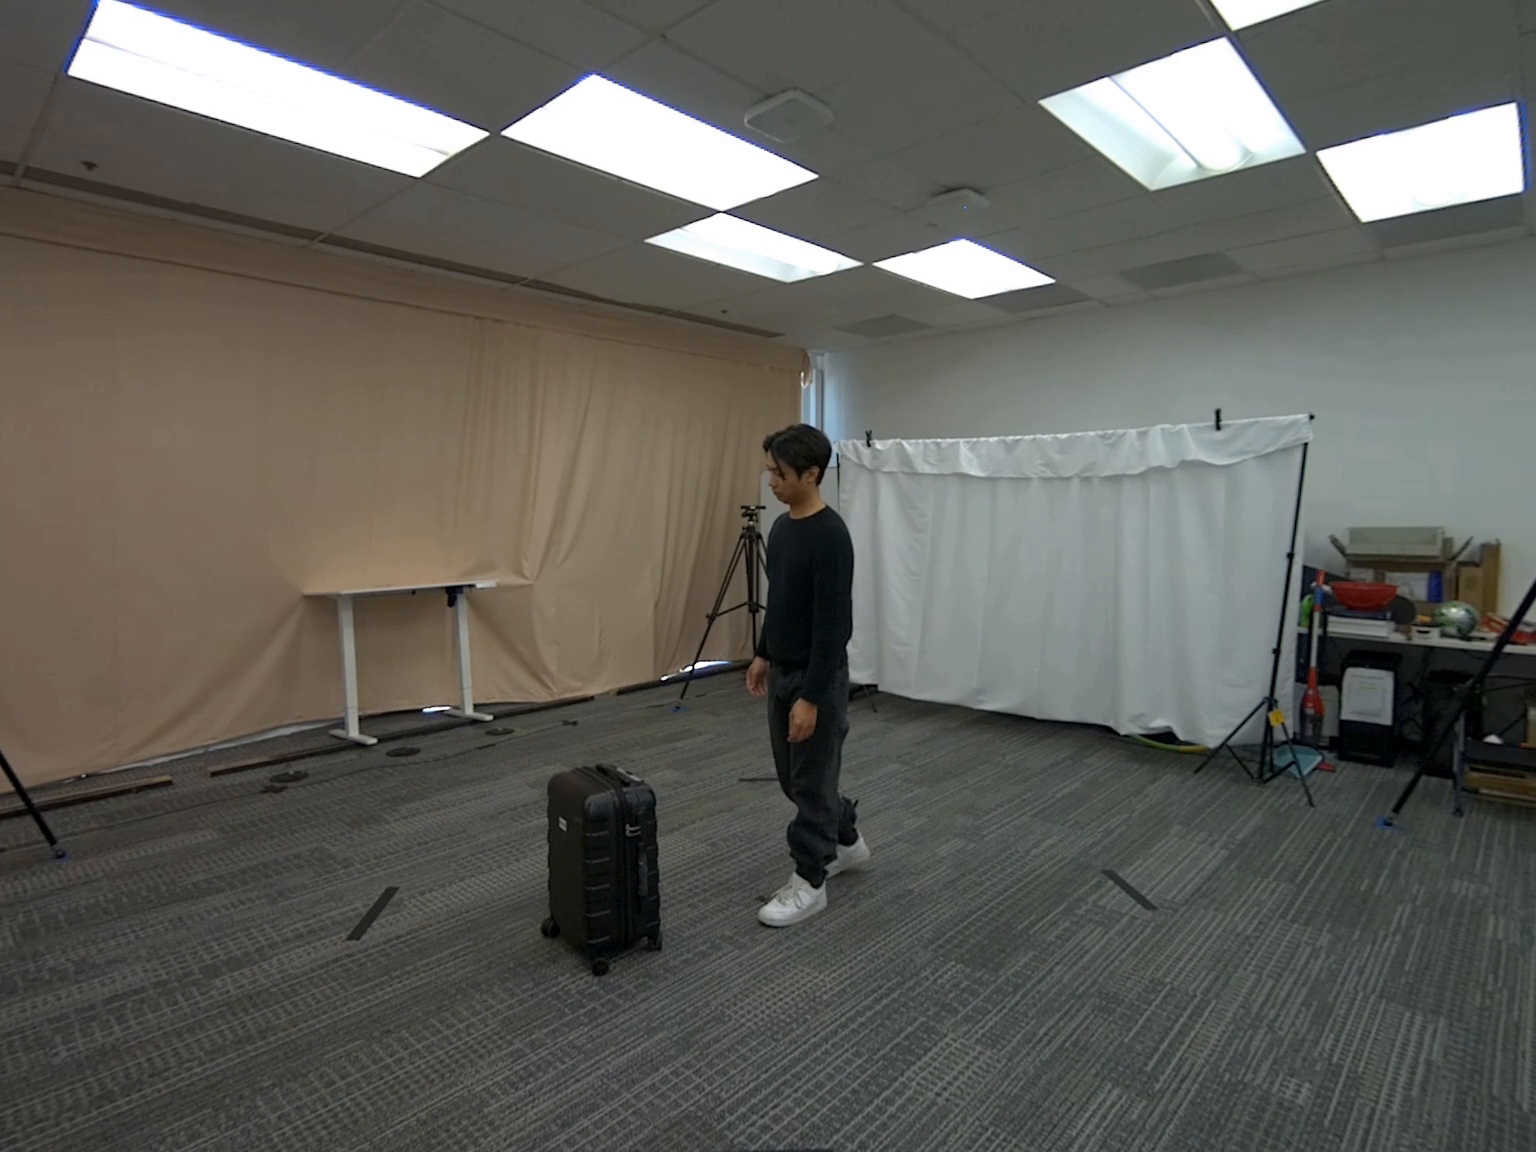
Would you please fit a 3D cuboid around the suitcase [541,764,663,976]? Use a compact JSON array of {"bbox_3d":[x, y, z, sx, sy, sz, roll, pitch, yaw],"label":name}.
[{"bbox_3d":[-0.524,0.898,2.672,0.241,0.548,0.387,-3,5,-36],"label":"suitcase"}]
